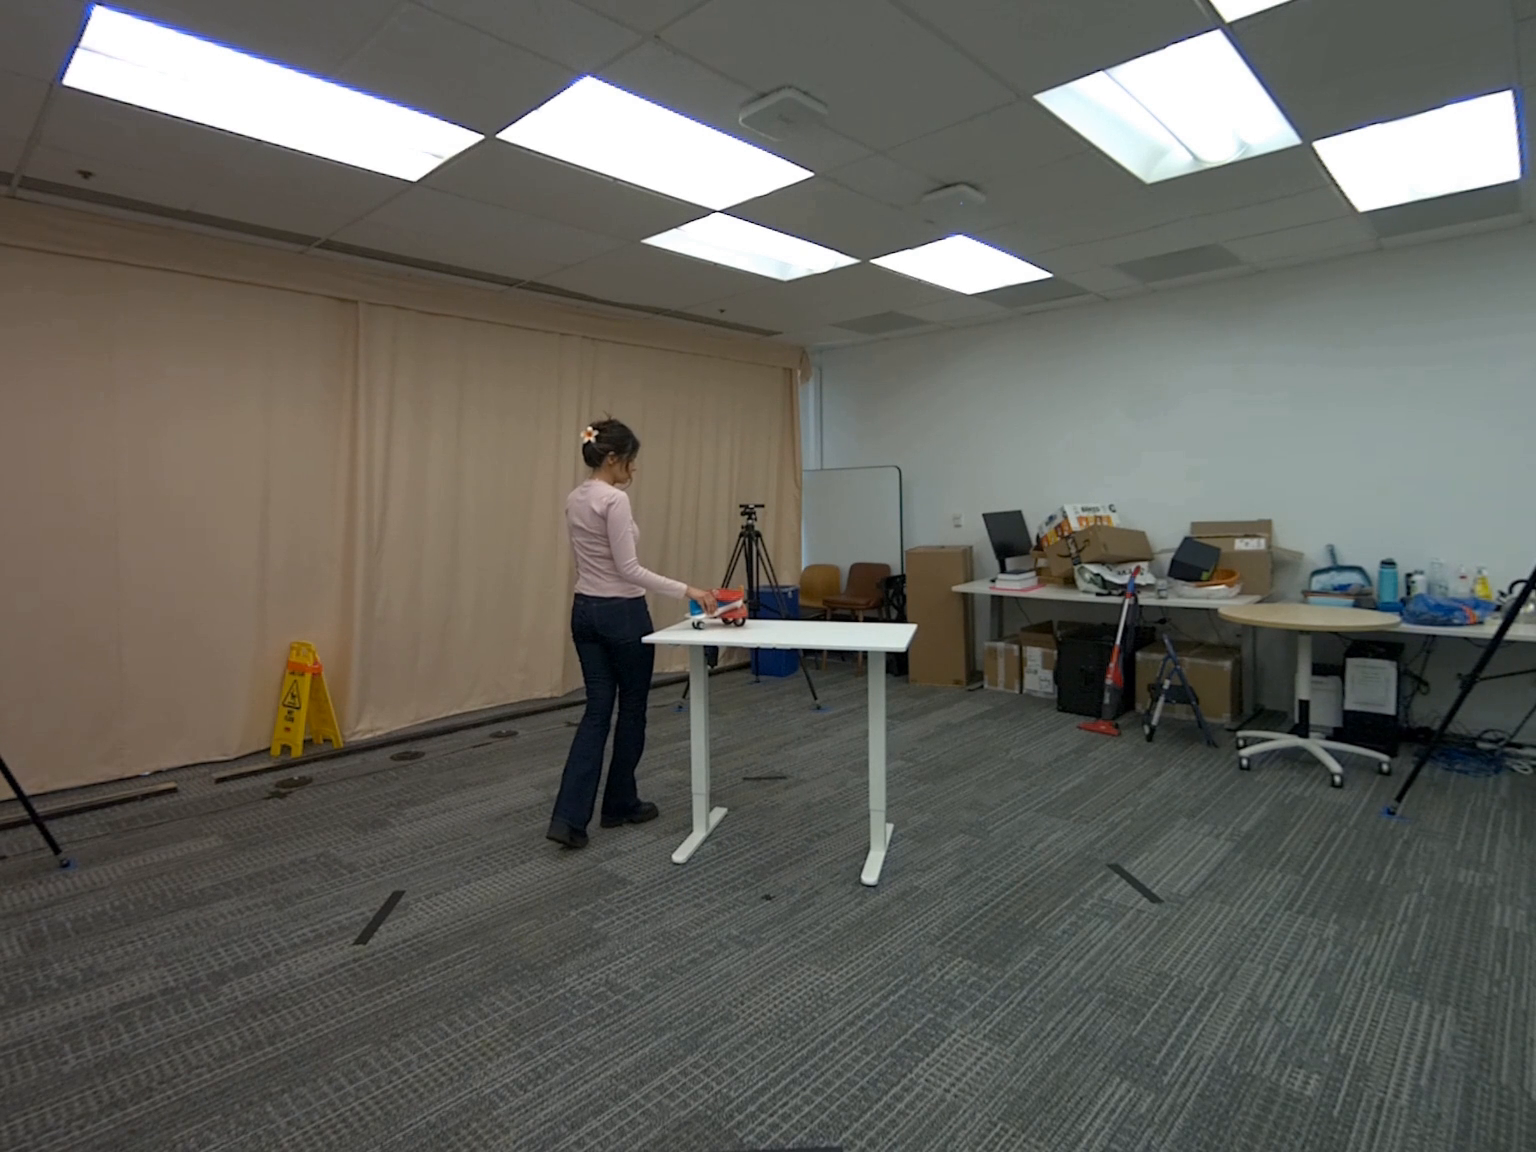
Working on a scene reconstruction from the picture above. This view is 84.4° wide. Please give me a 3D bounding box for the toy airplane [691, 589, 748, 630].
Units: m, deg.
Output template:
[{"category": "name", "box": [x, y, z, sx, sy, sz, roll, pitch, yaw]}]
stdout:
[{"category": "toy airplane", "box": [-0.198, 0.139, 3.524, 0.258, 0.156, 0.253, 1, 4, 28]}]
